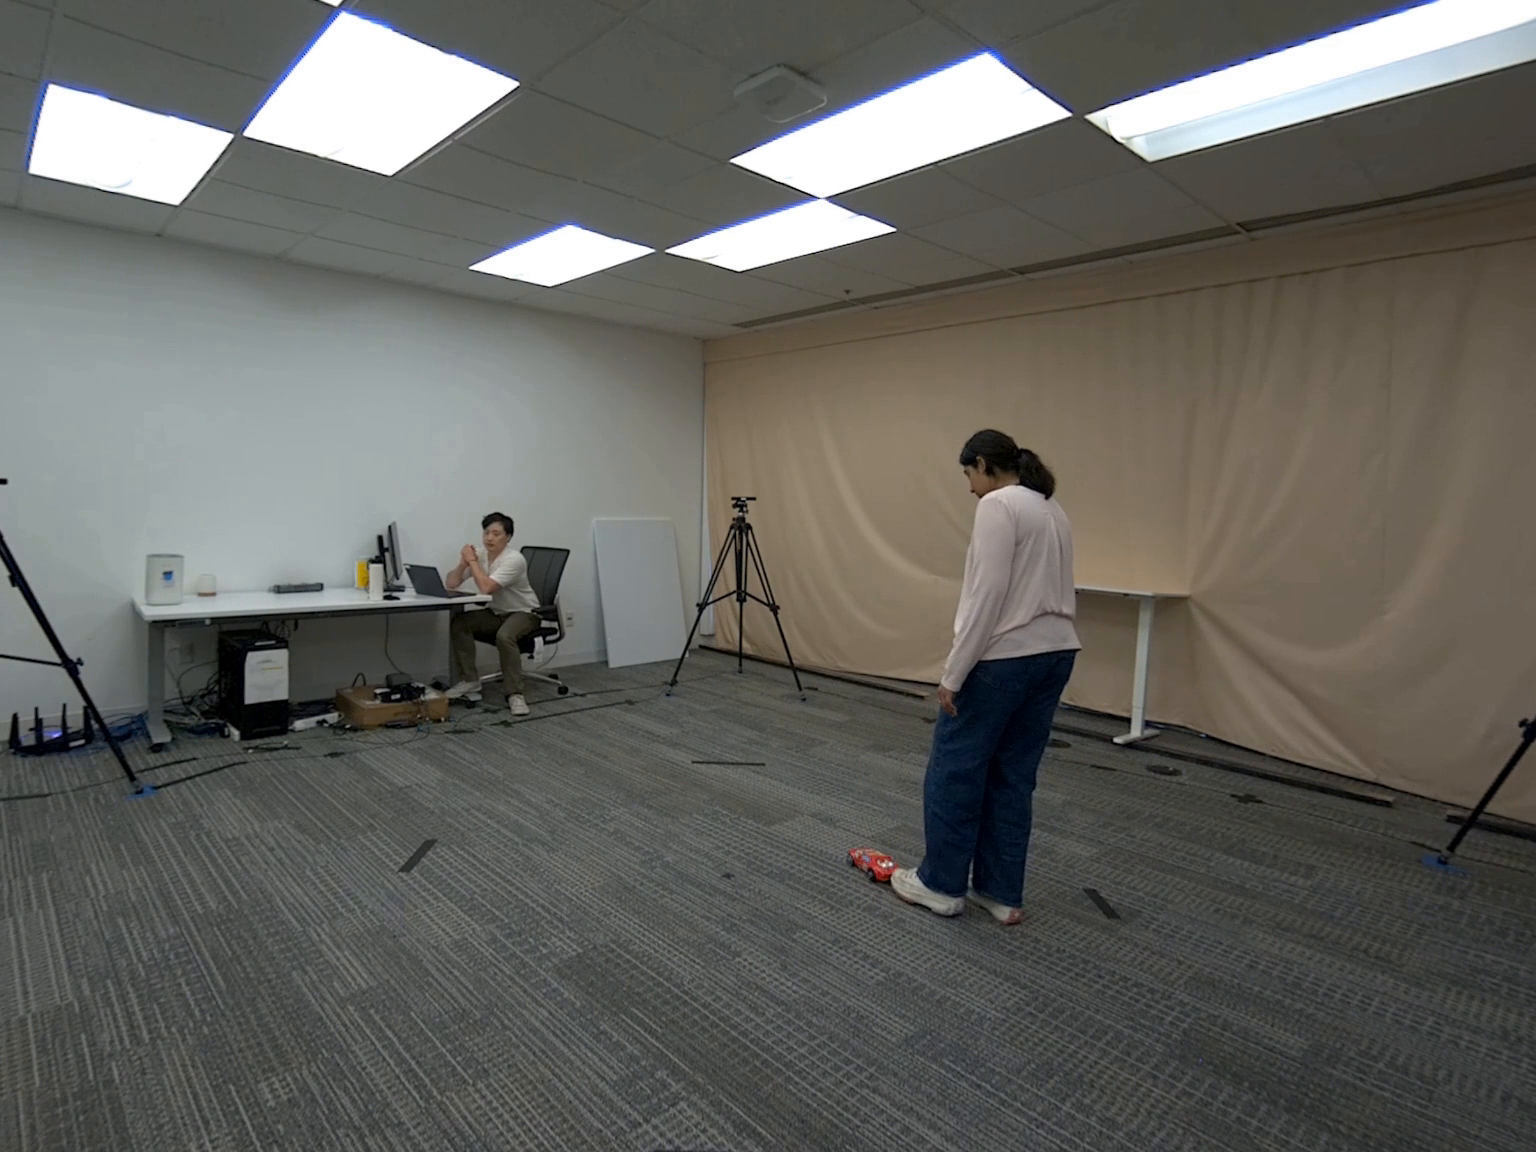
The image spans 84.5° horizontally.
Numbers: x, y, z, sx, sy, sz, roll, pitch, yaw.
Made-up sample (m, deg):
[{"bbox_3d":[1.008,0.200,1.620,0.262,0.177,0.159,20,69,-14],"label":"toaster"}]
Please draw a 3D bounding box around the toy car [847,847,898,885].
[{"bbox_3d":[0.396,1.085,3.155,0.128,0.083,0.258,0,-5,-25],"label":"toy car"}]
